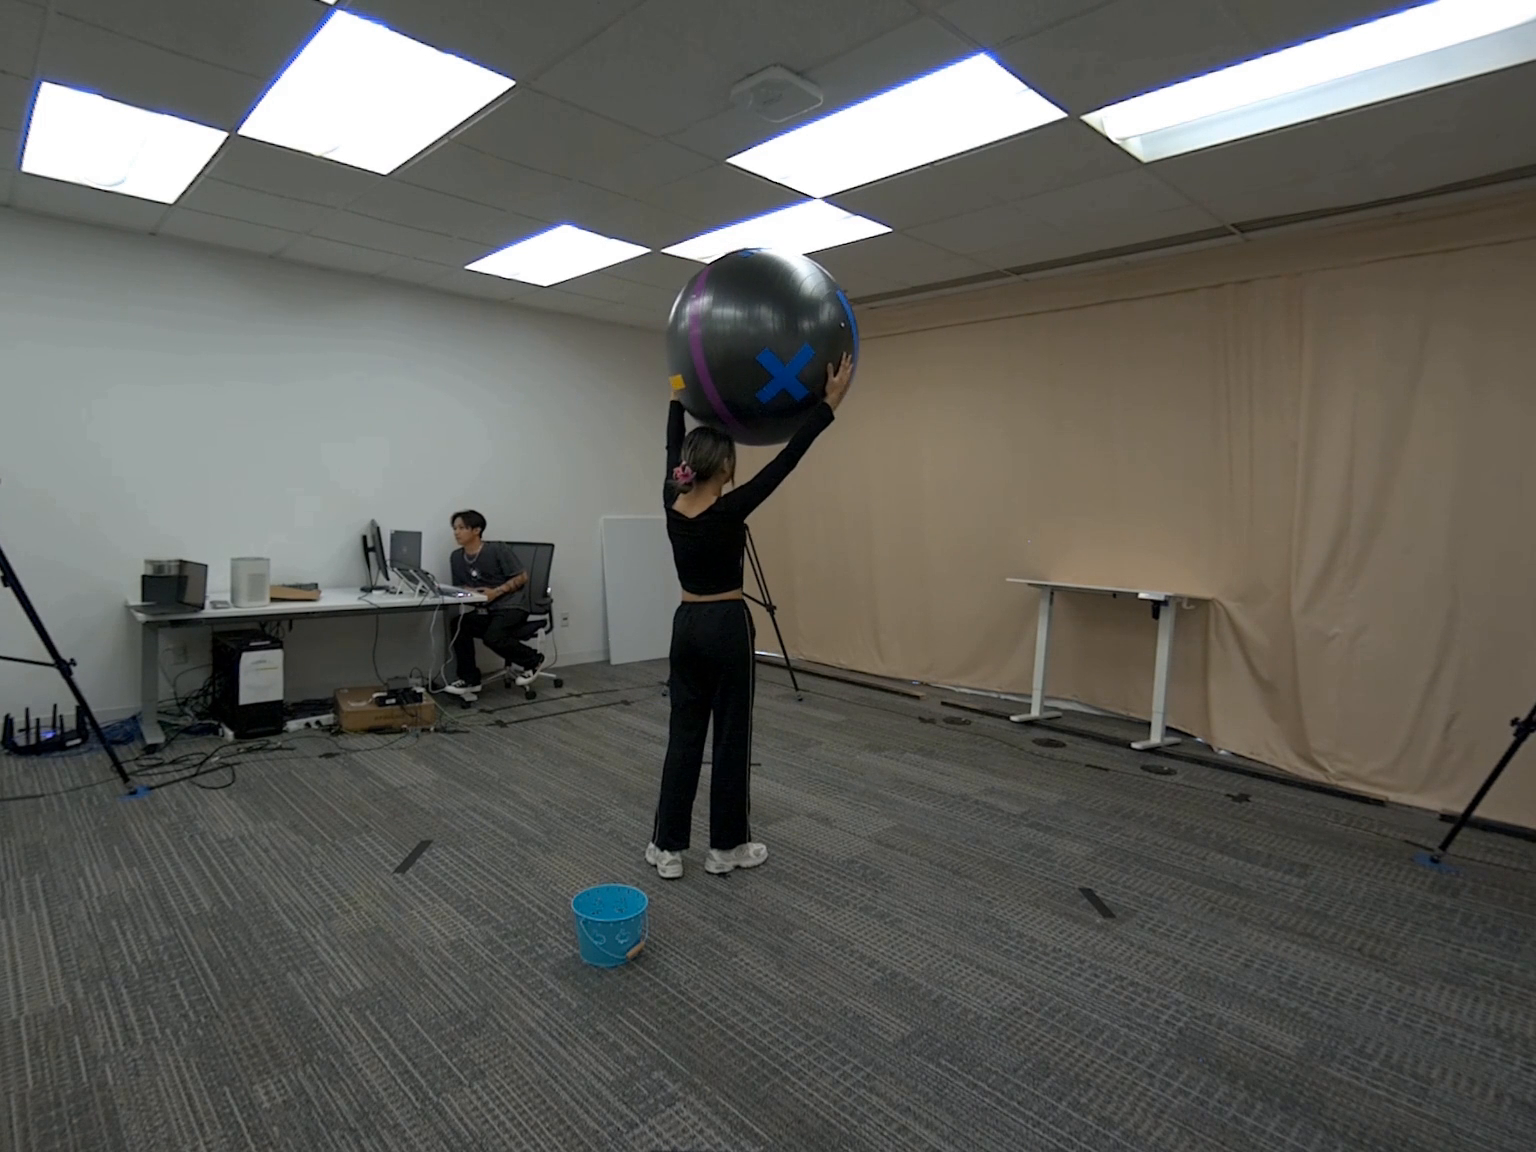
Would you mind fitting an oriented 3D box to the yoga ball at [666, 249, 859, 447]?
[{"bbox_3d":[-0.030,-0.884,3.293,0.757,0.756,0.761,1,4,-1],"label":"yoga ball"}]
